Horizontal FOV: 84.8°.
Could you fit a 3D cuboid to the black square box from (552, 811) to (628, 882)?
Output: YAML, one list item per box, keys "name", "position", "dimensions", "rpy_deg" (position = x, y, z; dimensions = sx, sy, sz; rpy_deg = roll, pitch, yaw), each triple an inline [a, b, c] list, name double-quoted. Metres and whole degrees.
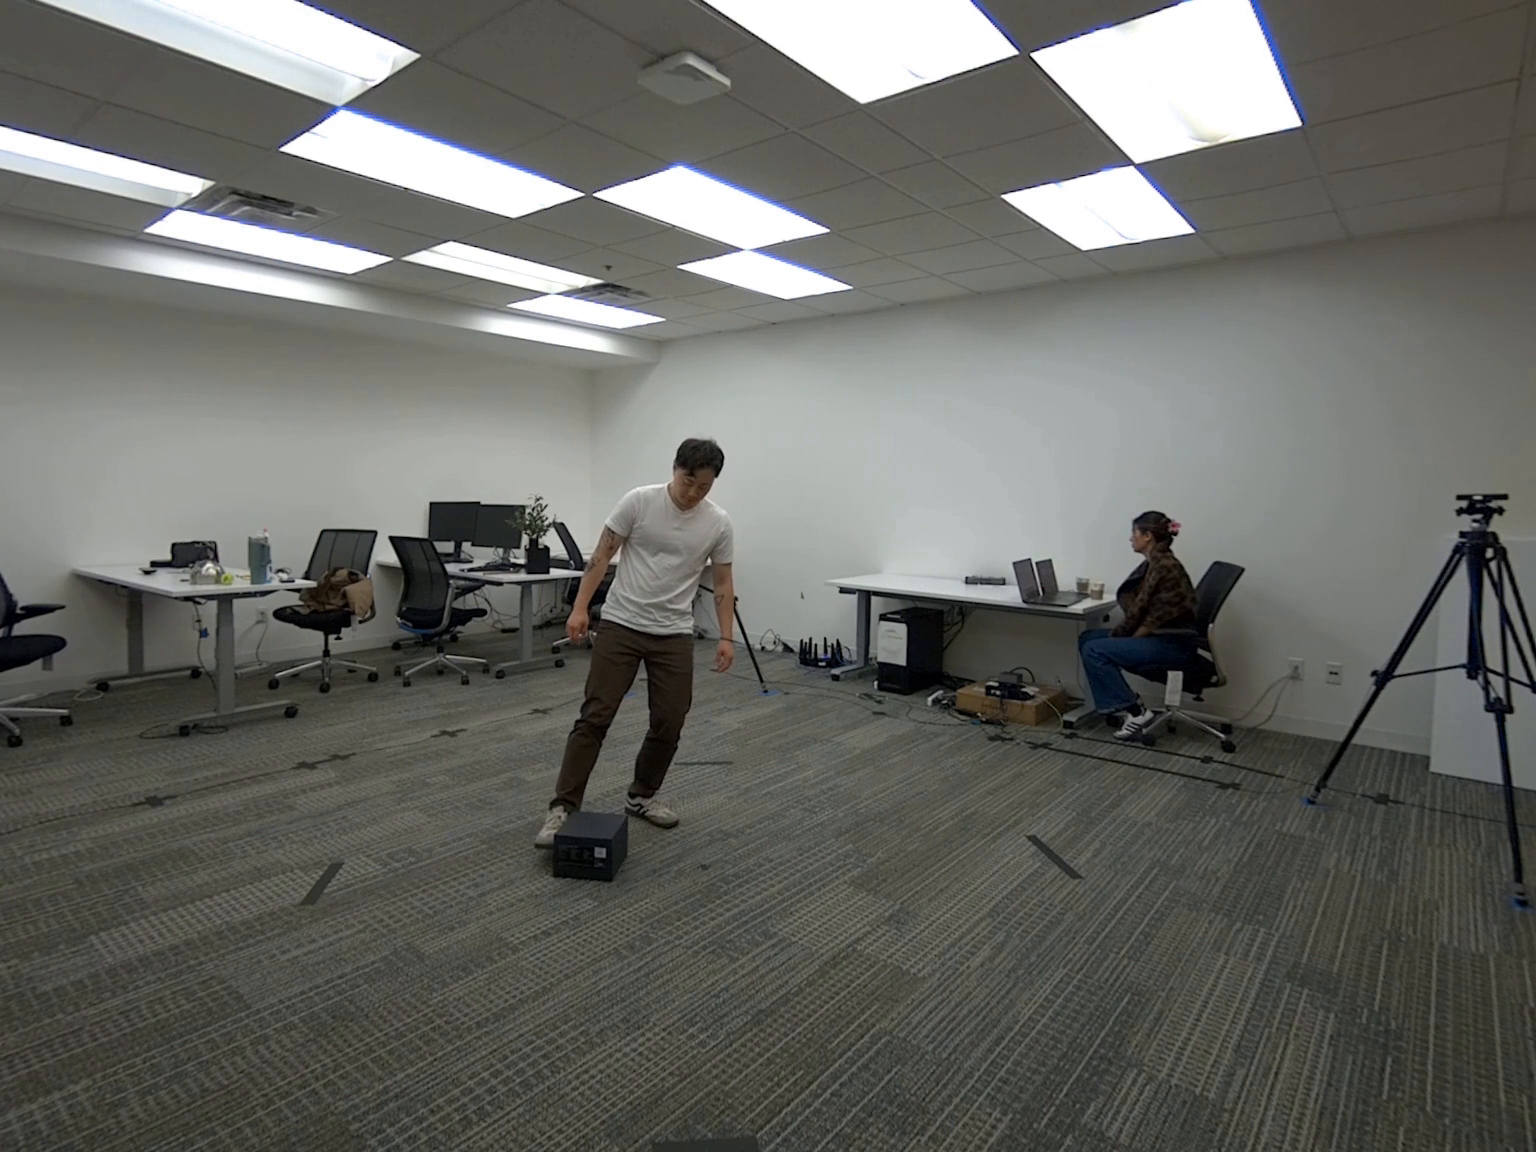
- name: "black square box"
  position: [-0.654, 0.973, 3.102]
  dimensions: [0.218, 0.155, 0.227]
  rpy_deg: [2, 4, 6]
